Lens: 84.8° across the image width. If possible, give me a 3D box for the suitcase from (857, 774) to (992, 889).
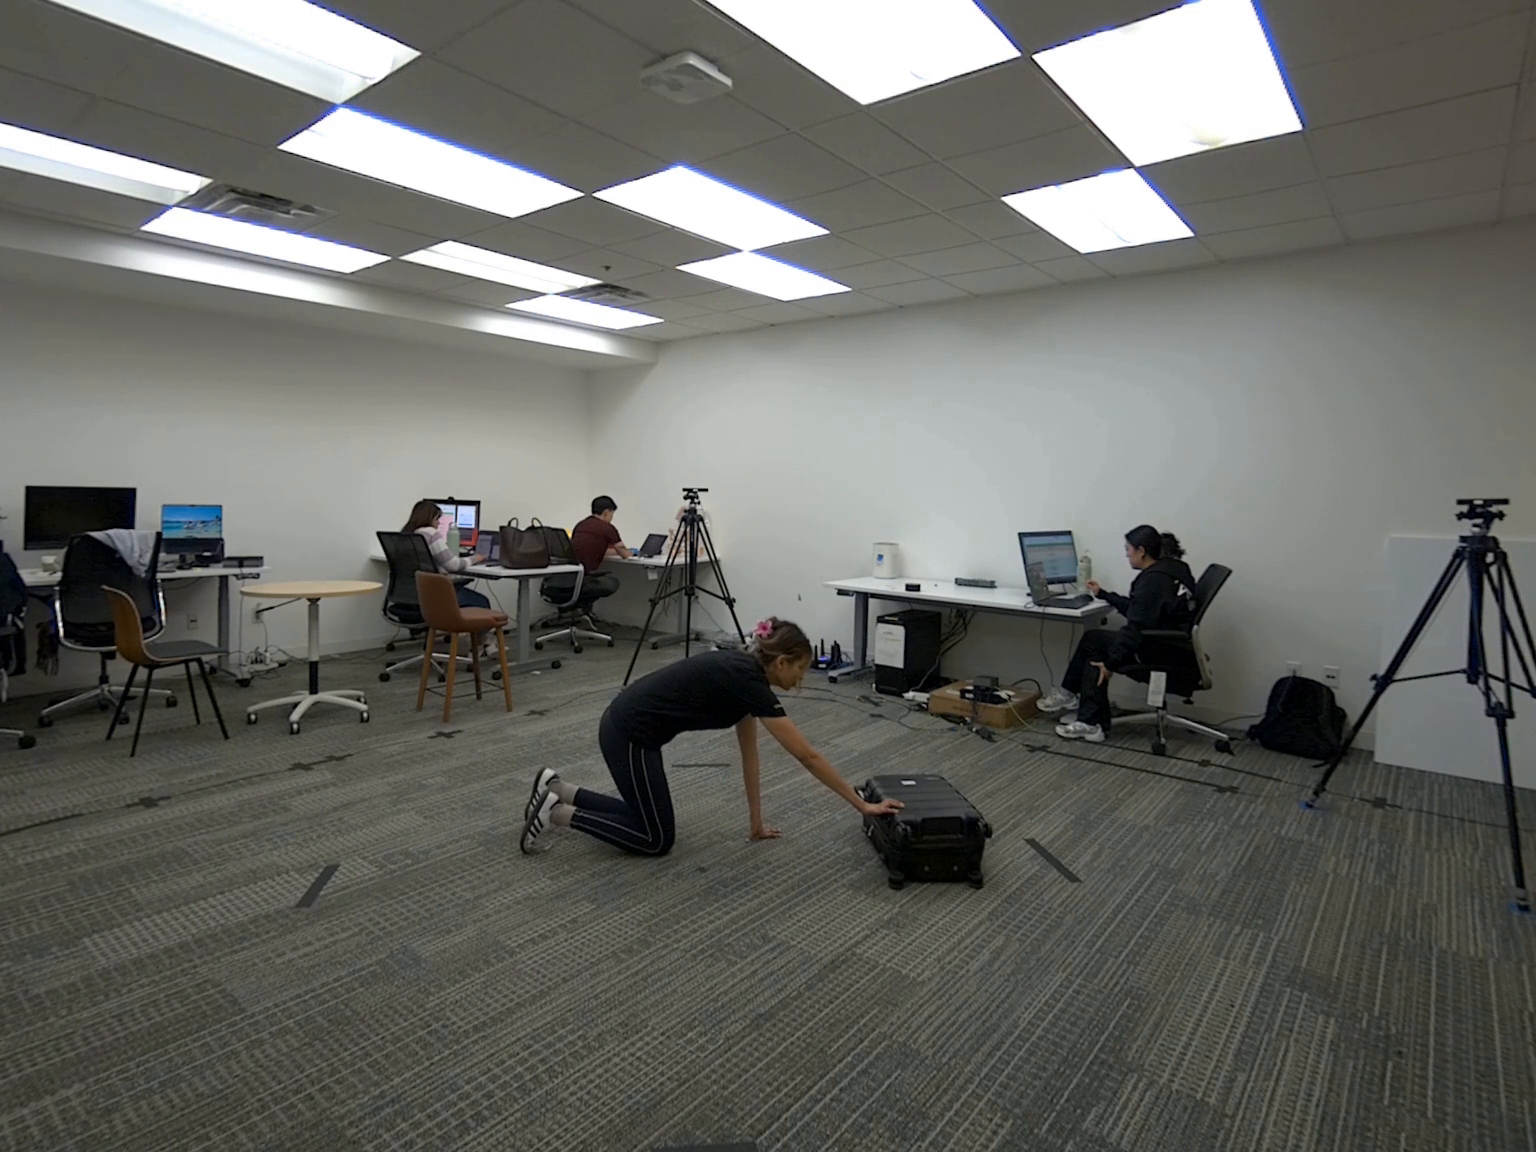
[{"bbox_3d":[0.549,0.929,3.466,0.381,0.255,0.991,-1,8,-7],"label":"suitcase"}]
